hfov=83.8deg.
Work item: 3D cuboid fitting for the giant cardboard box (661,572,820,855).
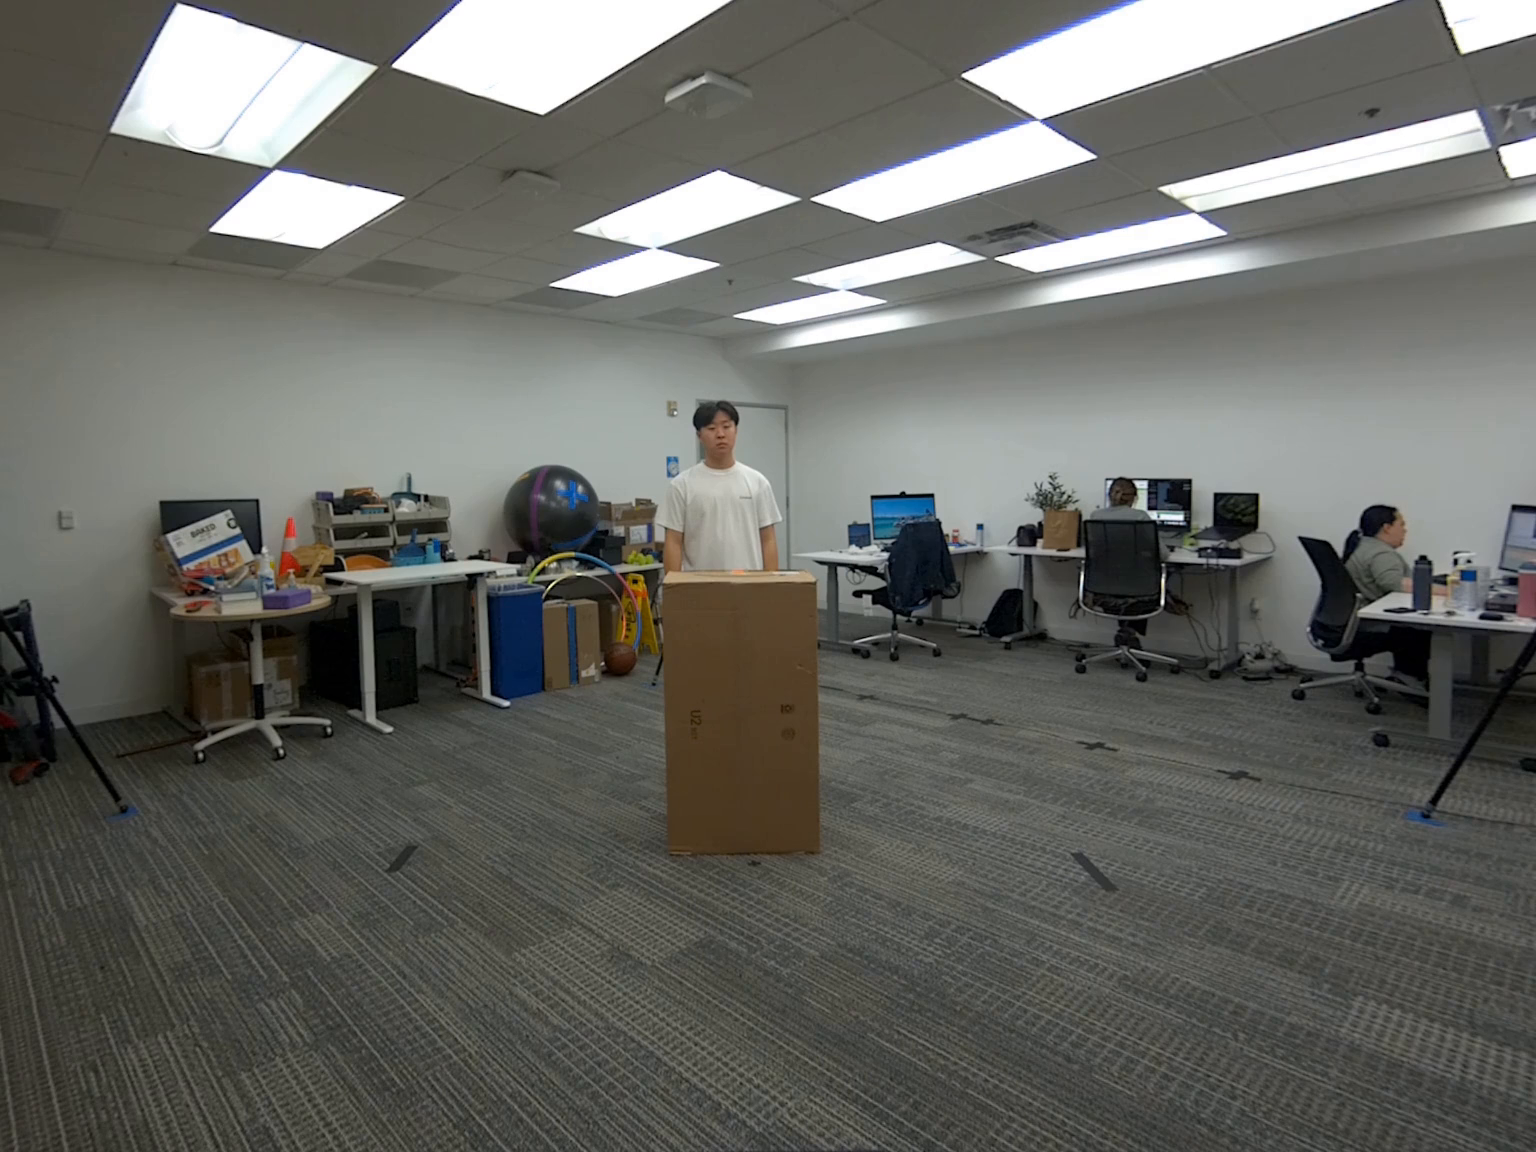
[{"bbox_3d":[-0.104,0.510,3.367,0.577,1.022,0.428,-1,4,-1],"label":"giant cardboard box"}]
